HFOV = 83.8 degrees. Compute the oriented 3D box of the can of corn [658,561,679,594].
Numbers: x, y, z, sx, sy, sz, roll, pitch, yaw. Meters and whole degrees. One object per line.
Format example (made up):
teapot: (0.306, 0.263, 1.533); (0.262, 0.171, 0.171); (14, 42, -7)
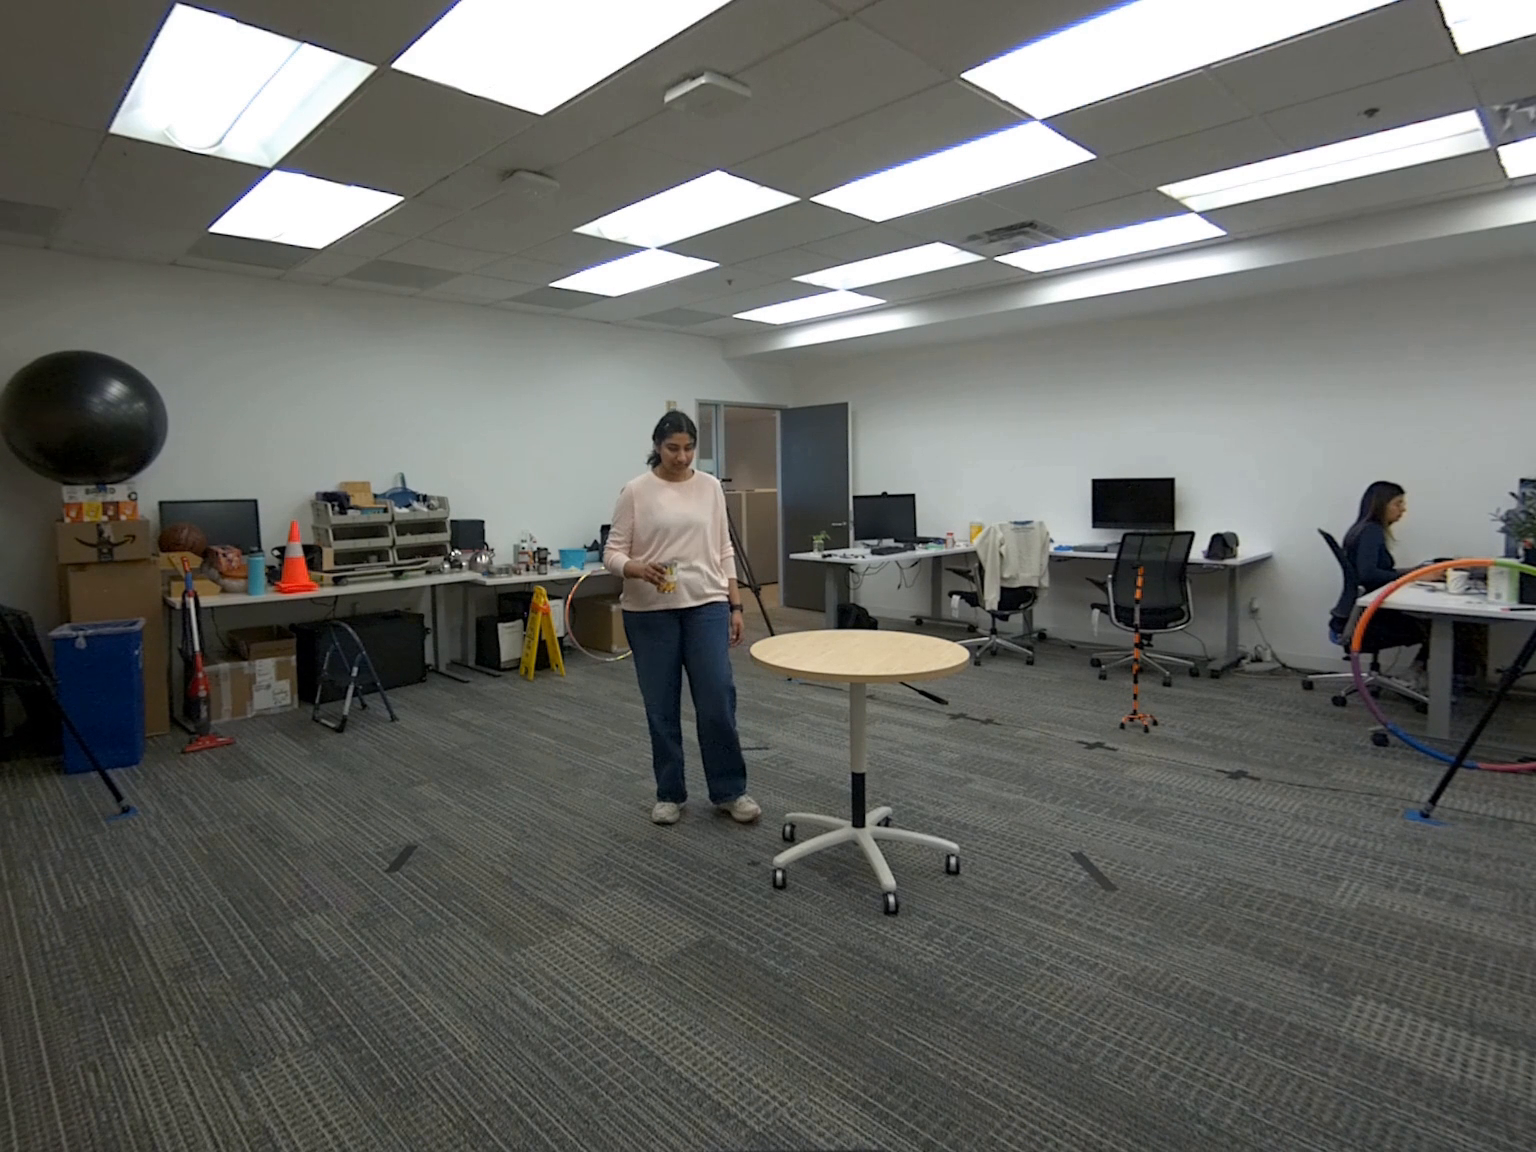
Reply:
can of corn: (-0.389, 0.011, 3.220); (0.074, 0.110, 0.074); (-4, 4, -1)
